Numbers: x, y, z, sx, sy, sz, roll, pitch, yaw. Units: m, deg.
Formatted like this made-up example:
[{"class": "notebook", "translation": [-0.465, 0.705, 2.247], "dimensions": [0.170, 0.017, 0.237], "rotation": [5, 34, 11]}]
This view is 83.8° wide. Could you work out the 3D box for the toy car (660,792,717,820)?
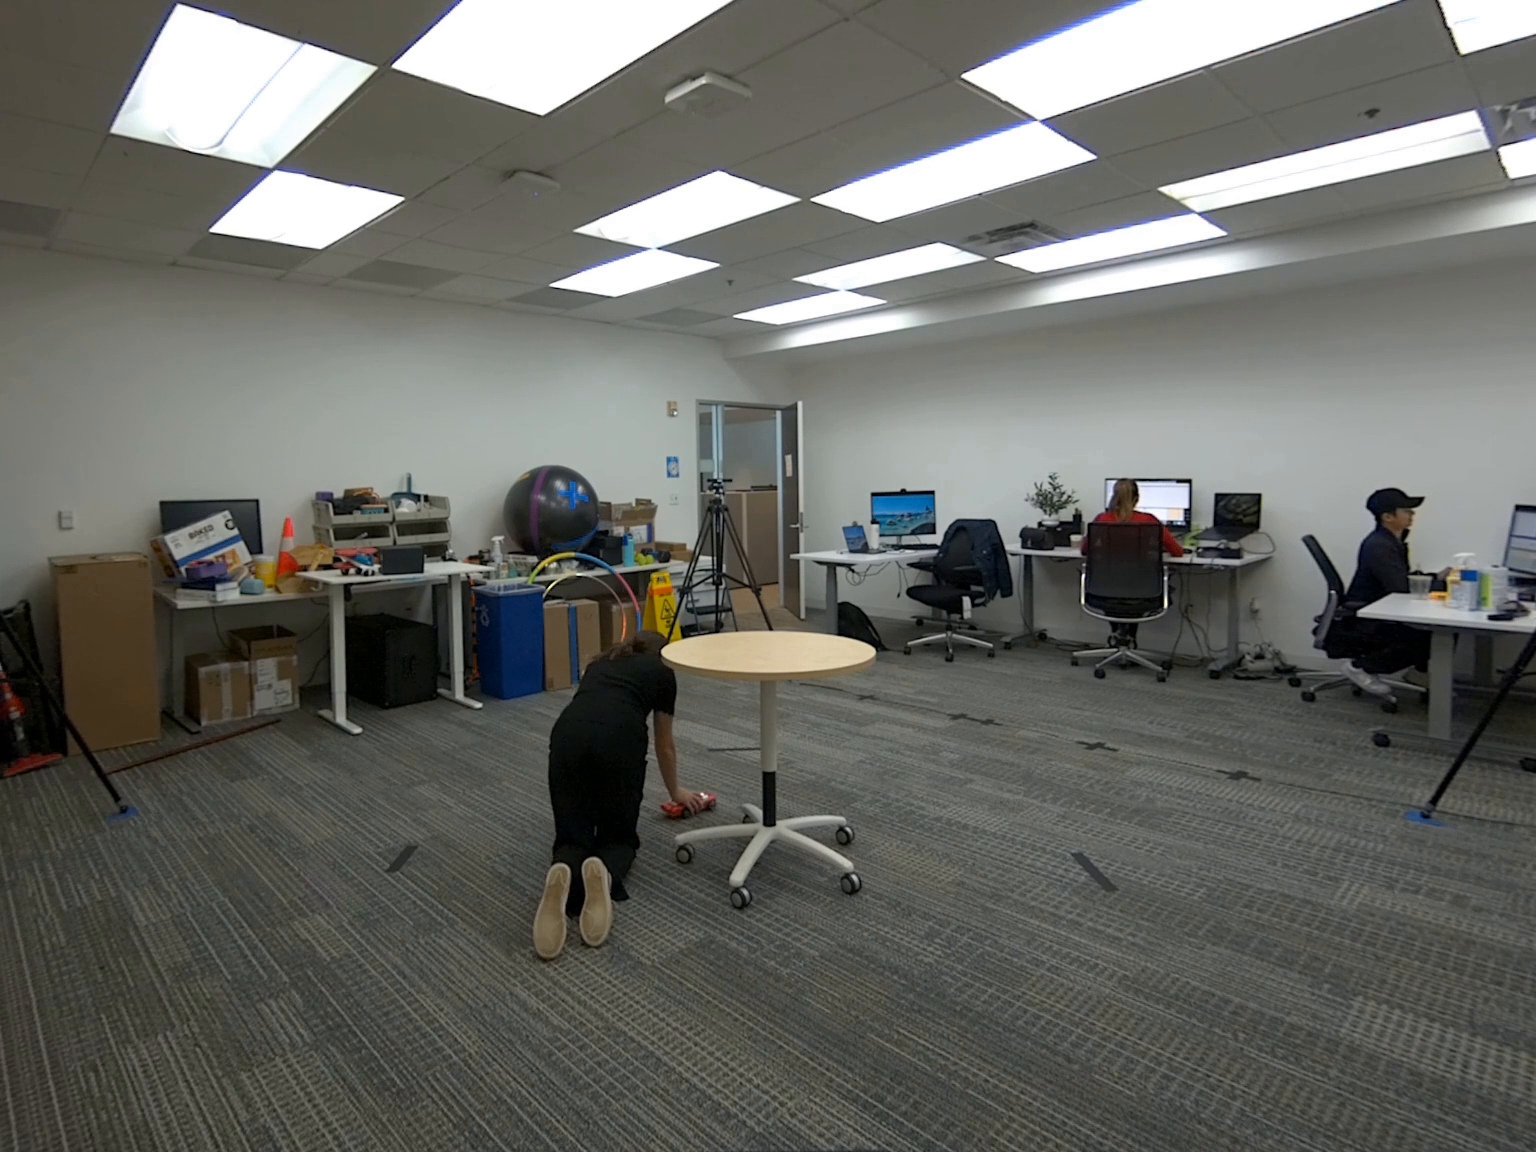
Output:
[{"class": "toy car", "translation": [-0.346, 0.967, 3.602], "dimensions": [0.246, 0.083, 0.134], "rotation": [7, -1, -41]}]
